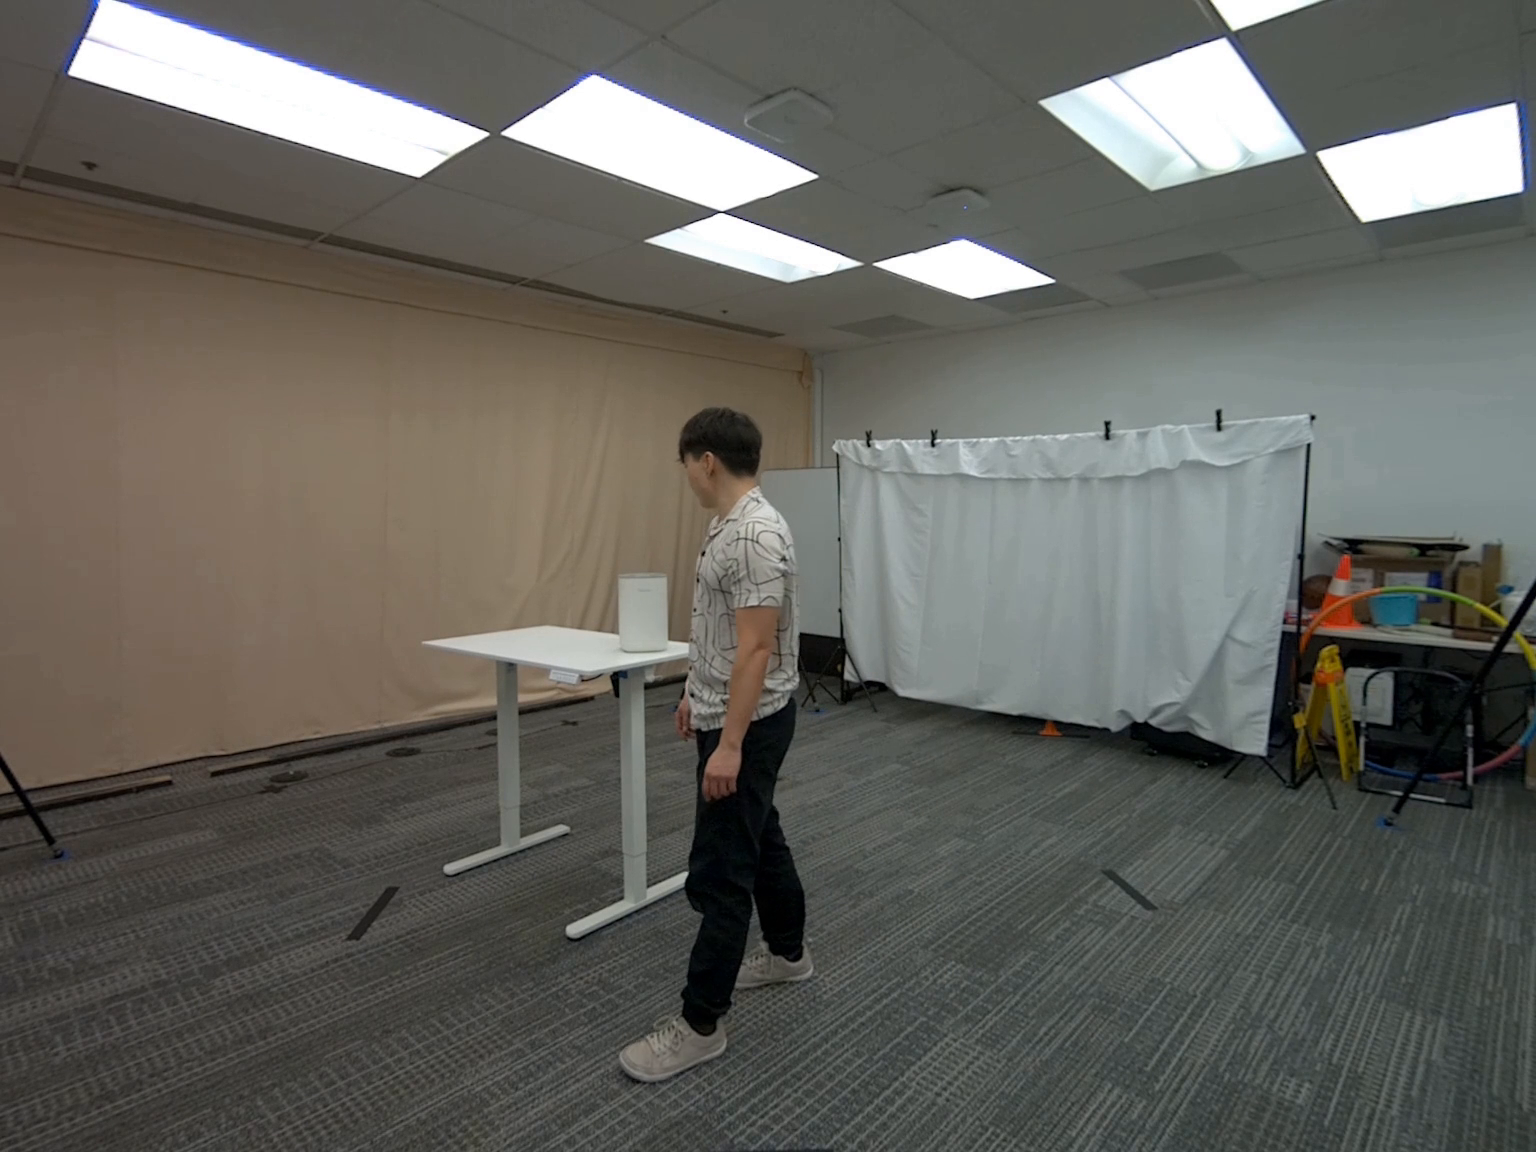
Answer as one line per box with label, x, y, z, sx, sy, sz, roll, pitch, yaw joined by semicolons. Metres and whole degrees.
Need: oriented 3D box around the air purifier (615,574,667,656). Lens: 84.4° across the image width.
air purifier;-0.447;0.131;2.982;0.170;0.265;0.173;-1;3;-6
